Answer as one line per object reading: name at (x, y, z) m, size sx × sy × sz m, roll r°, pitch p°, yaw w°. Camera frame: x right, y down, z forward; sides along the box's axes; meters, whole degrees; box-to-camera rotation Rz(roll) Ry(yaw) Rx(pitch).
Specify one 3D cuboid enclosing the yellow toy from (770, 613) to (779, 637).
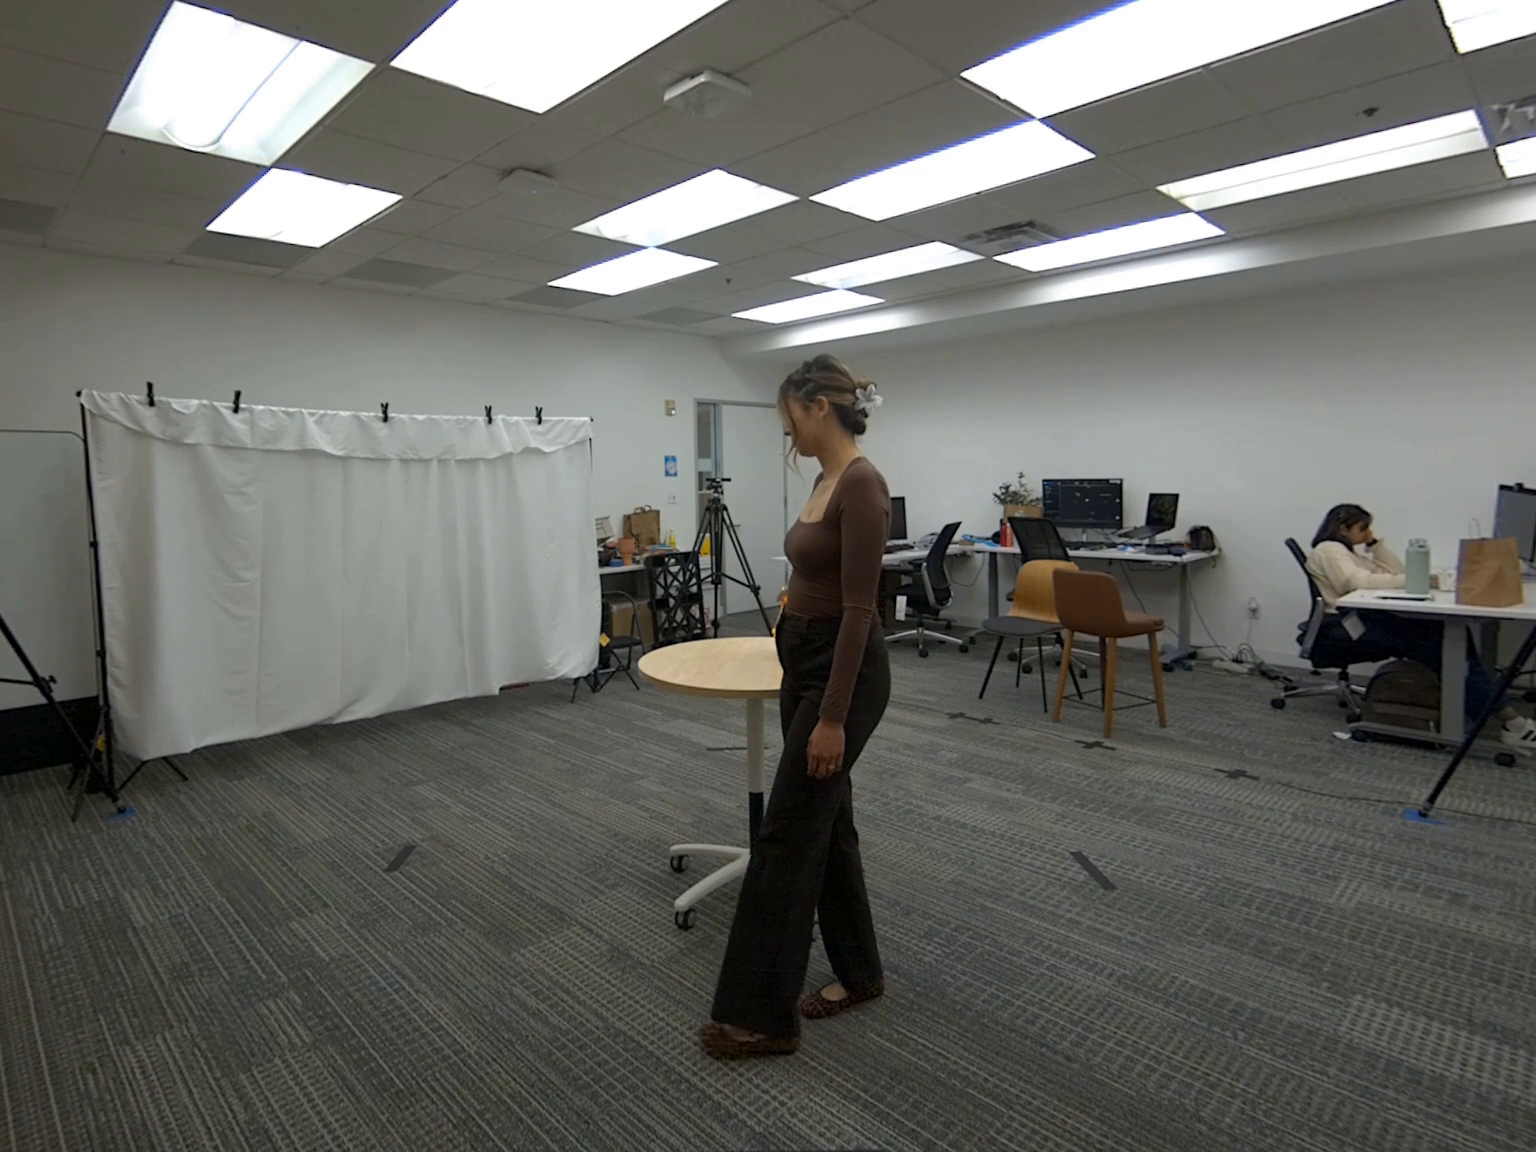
yellow toy at (0.119, 0.152, 2.873) m, size 0.194 × 0.230 × 0.205 m, roll -2°, pitch 5°, yaw 3°
